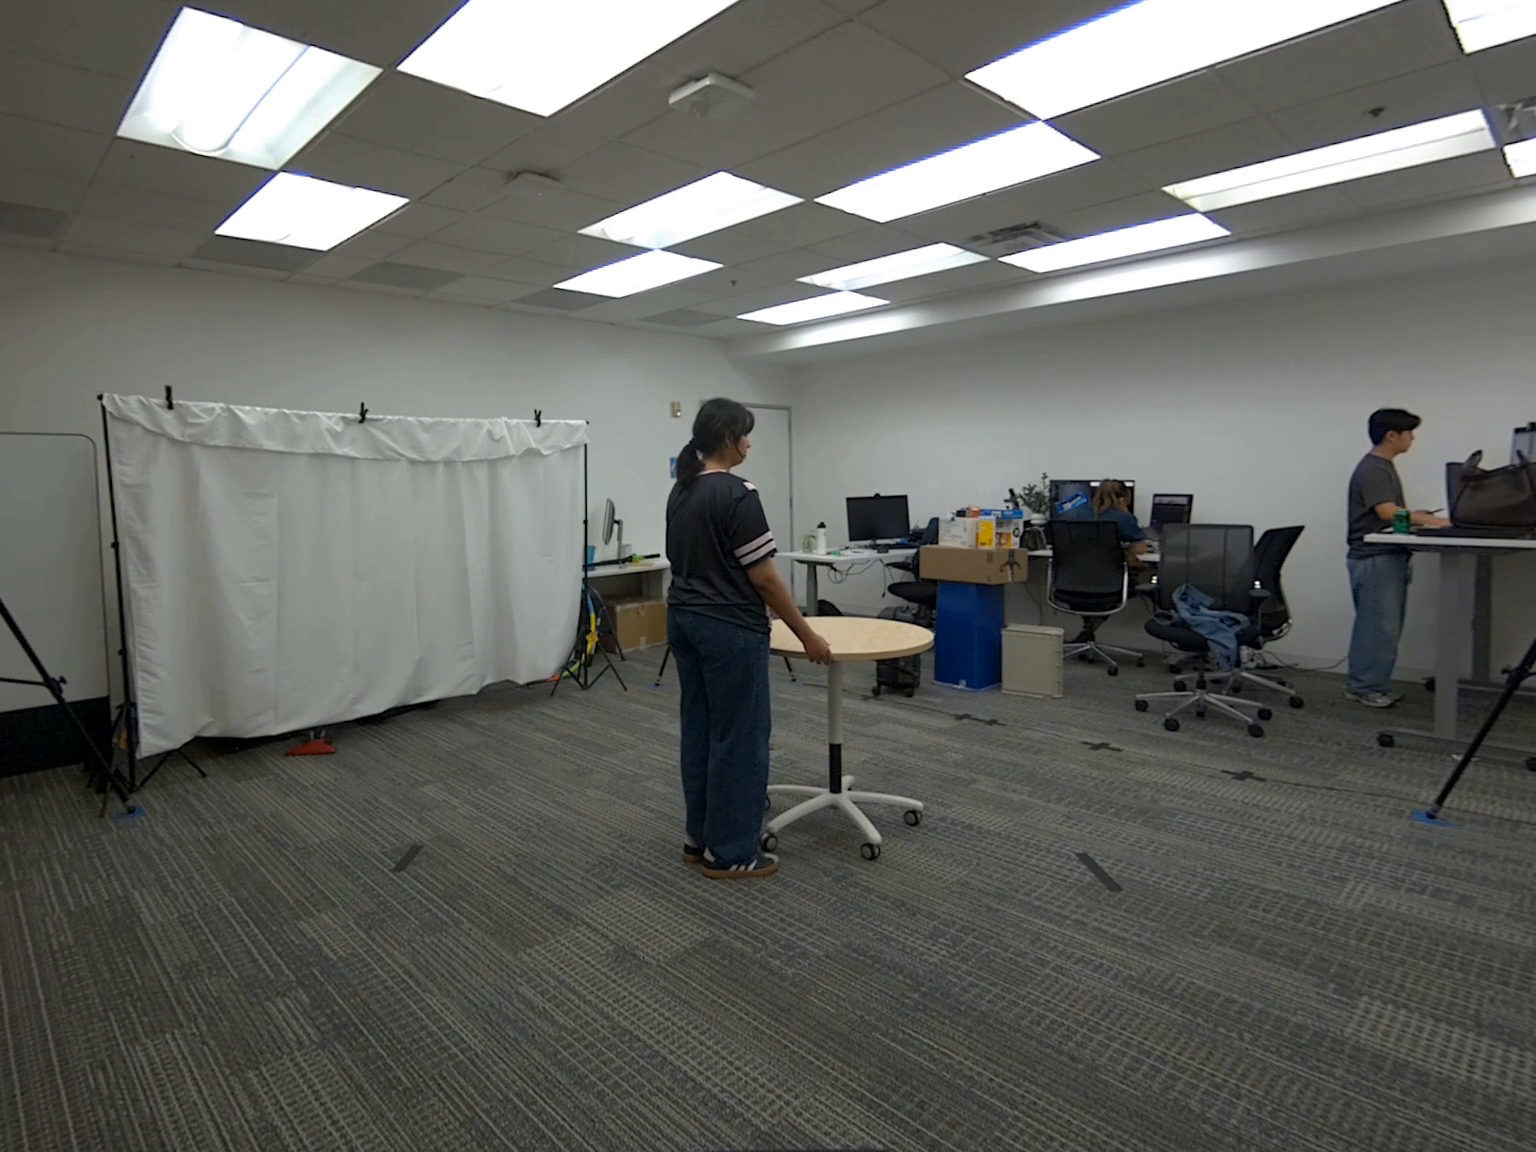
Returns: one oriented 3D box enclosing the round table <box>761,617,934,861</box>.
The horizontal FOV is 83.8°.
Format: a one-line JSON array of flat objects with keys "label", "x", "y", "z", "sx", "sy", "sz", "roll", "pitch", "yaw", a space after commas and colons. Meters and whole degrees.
[{"label": "round table", "x": 0.257, "y": 0.612, "z": 3.408, "sx": 0.784, "sy": 0.783, "sz": 0.789, "roll": -1, "pitch": 5, "yaw": -2}]
